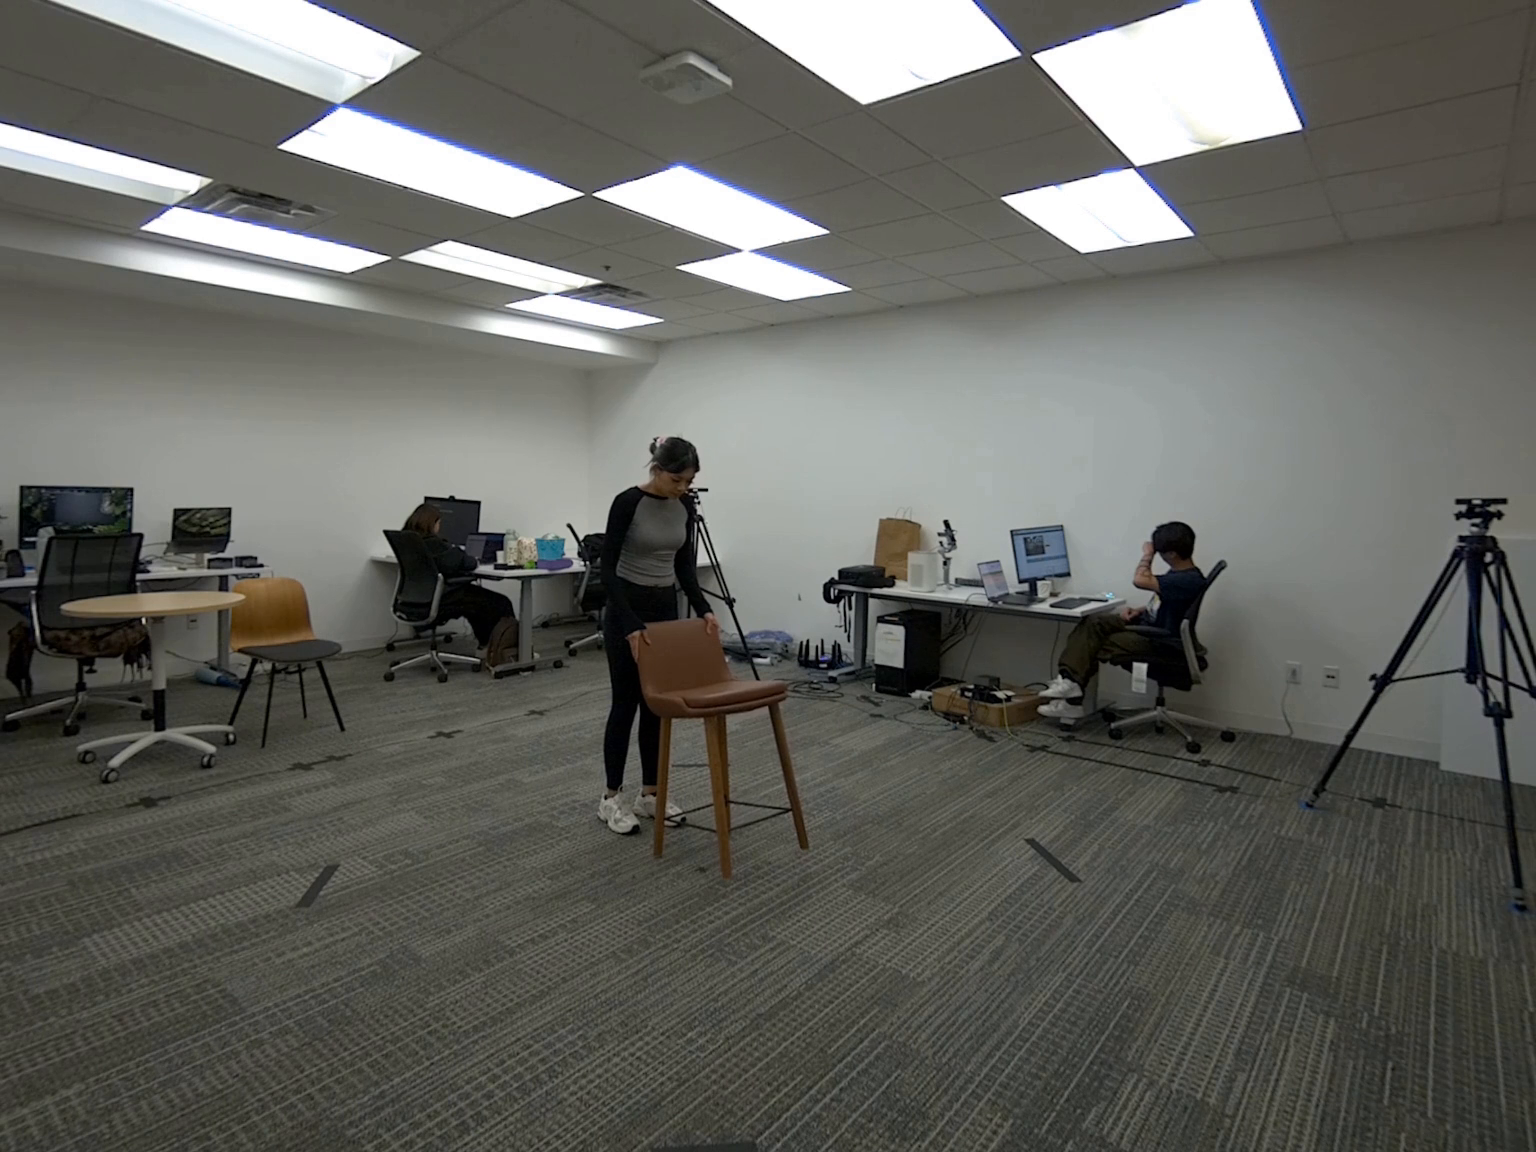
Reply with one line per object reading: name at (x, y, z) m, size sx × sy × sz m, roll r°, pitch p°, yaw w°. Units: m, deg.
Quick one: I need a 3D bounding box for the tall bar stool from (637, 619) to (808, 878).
tall bar stool at (-0.203, 0.594, 3.213) m, size 0.443 × 0.896 × 0.479 m, roll -3°, pitch -7°, yaw -41°
